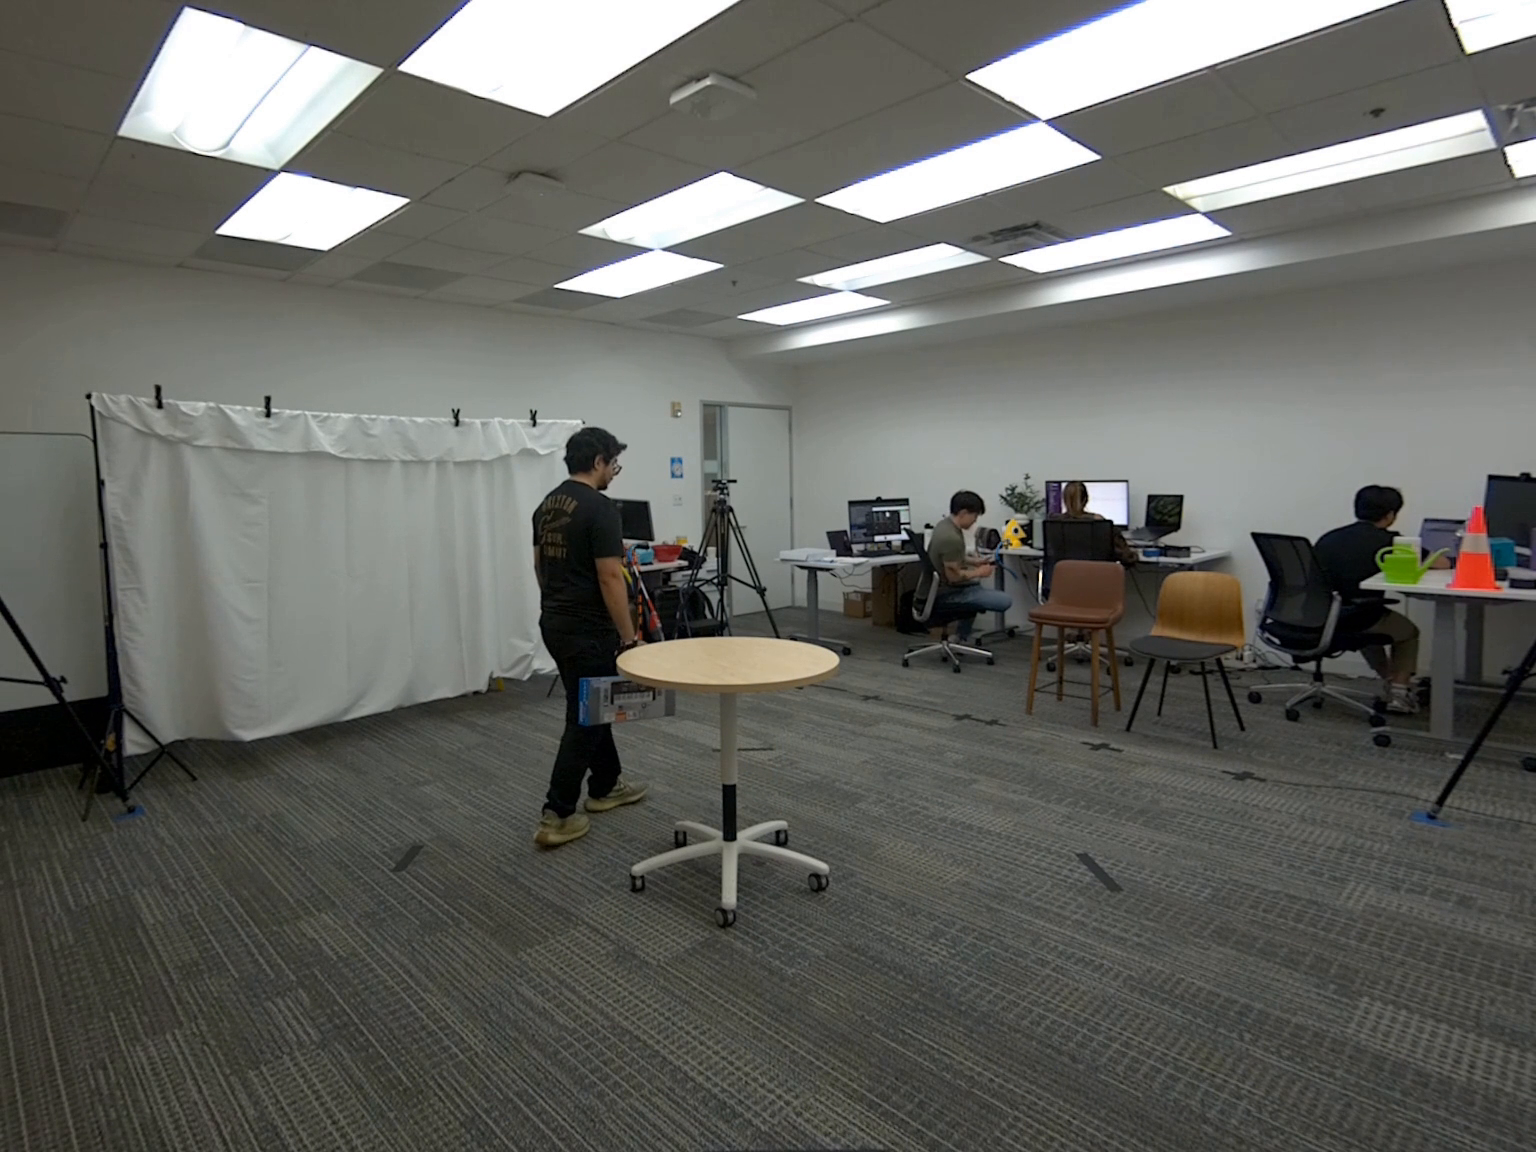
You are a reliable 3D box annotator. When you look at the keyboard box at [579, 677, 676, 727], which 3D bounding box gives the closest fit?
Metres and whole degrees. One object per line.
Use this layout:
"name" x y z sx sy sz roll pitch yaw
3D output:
"keyboard box" -0.539 0.470 3.338 0.061 0.176 0.423 -2 -3 44
